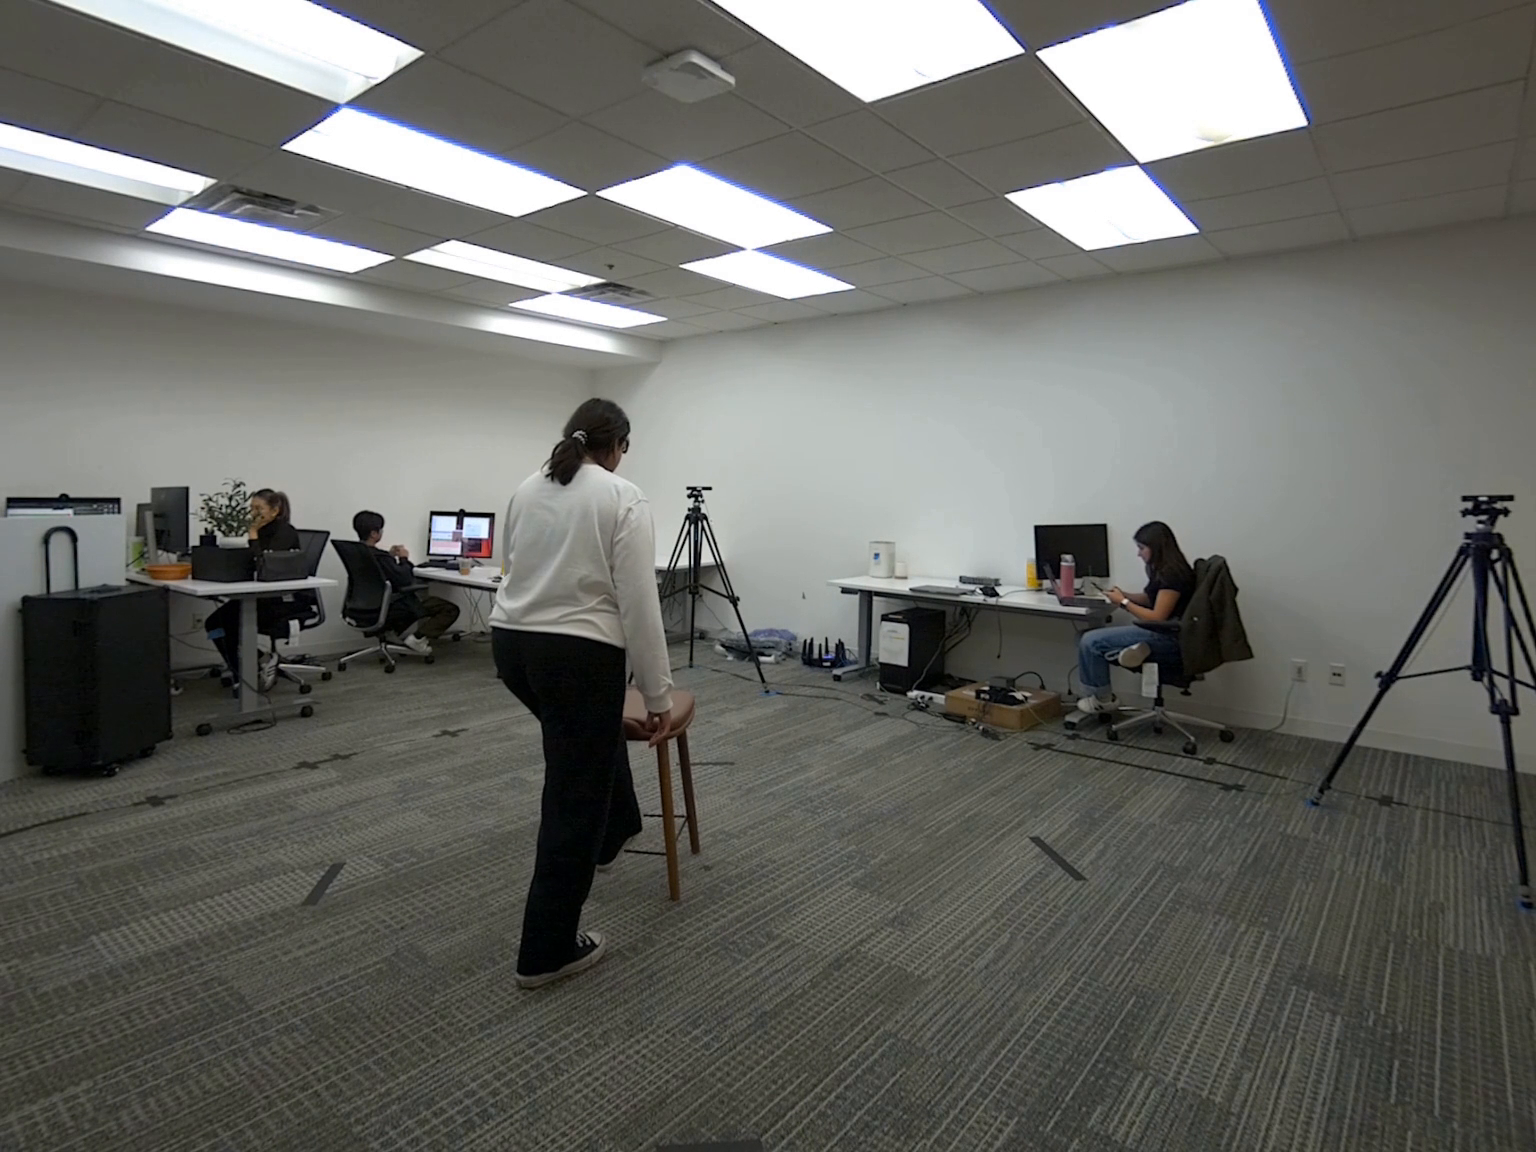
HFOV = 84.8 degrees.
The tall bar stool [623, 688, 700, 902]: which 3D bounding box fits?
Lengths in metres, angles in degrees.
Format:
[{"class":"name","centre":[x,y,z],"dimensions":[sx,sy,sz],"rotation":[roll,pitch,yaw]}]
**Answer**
[{"class":"tall bar stool","centre":[-0.502,0.628,3.067],"dimensions":[0.472,0.887,0.453],"rotation":[-1,3,9]}]
